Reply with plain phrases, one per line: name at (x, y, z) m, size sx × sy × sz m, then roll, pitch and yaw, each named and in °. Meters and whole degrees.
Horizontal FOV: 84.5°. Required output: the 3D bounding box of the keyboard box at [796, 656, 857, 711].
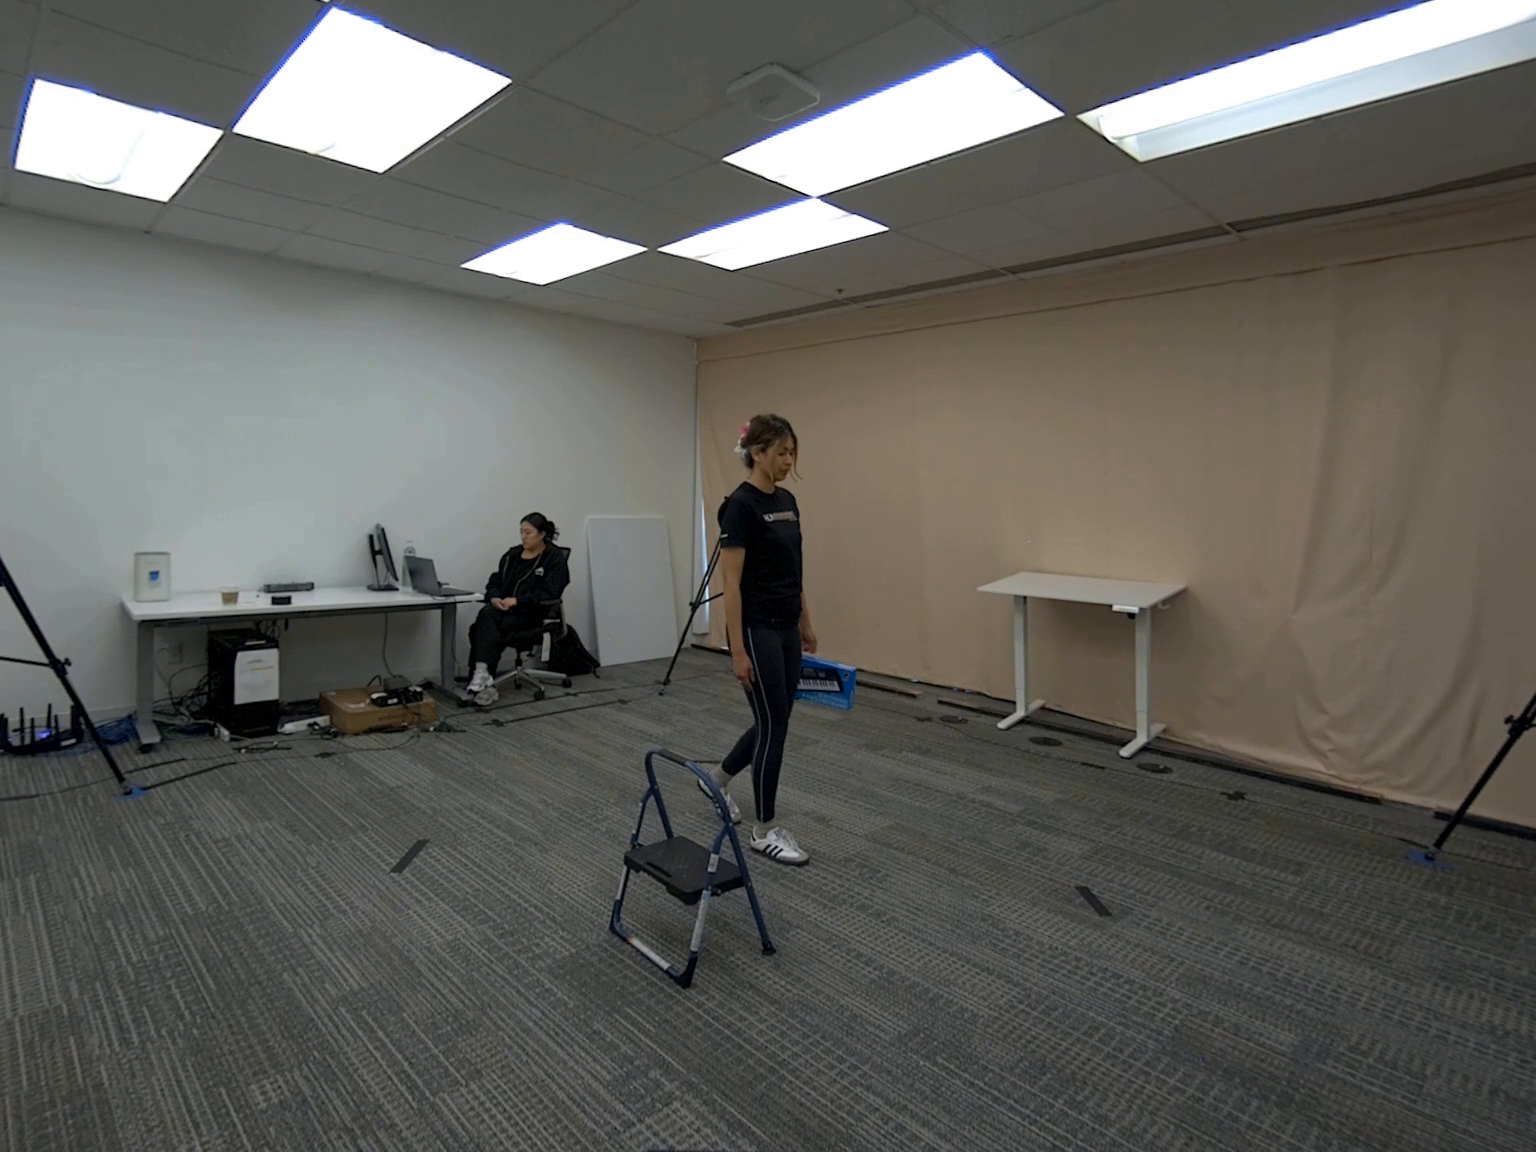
keyboard box at (0.153, 0.432, 3.586) m, size 0.446 × 0.175 × 0.058 m, roll 11°, pitch 10°, yaw 26°
